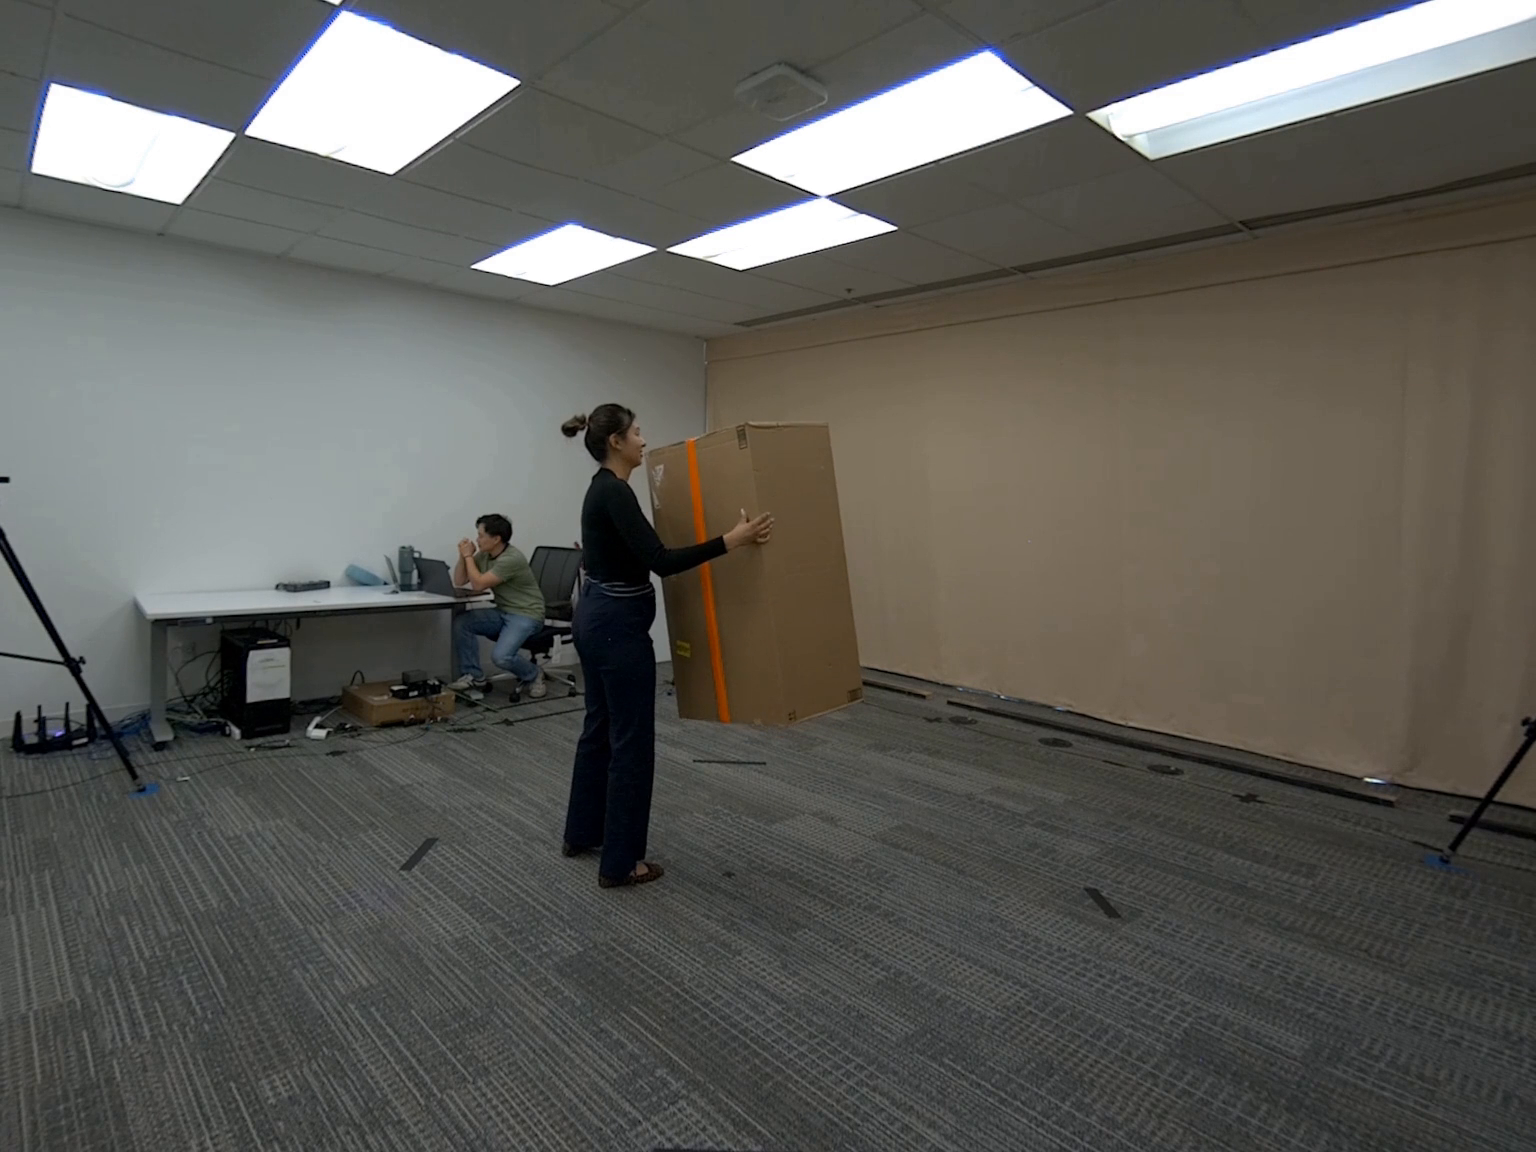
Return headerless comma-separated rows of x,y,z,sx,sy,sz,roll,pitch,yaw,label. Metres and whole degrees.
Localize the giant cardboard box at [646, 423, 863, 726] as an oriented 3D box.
-0.064,-0.006,3.139,0.417,1.026,0.589,-7,0,-43,giant cardboard box
